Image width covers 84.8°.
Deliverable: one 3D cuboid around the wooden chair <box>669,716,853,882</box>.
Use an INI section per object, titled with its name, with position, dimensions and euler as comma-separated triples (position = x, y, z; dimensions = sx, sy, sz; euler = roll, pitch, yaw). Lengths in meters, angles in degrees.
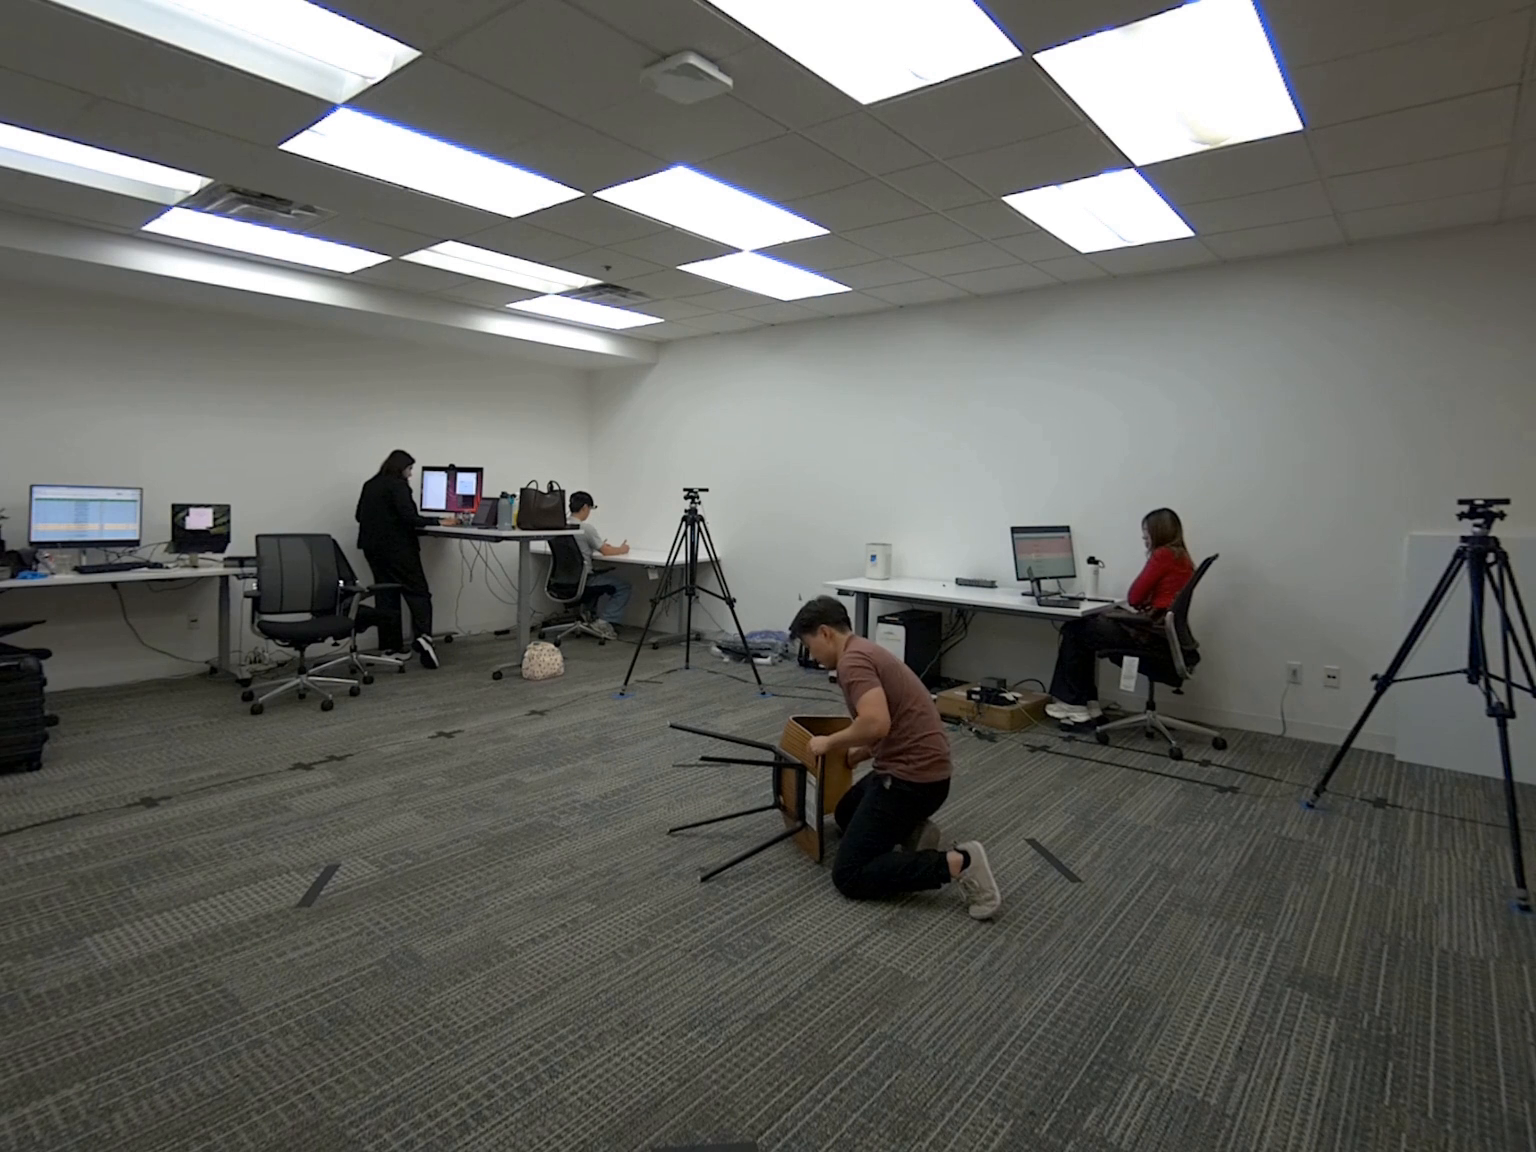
[wooden chair]
position = 0.073, 0.824, 3.321
dimensions = 0.858, 0.476, 0.537
euler = -2, 6, -23
